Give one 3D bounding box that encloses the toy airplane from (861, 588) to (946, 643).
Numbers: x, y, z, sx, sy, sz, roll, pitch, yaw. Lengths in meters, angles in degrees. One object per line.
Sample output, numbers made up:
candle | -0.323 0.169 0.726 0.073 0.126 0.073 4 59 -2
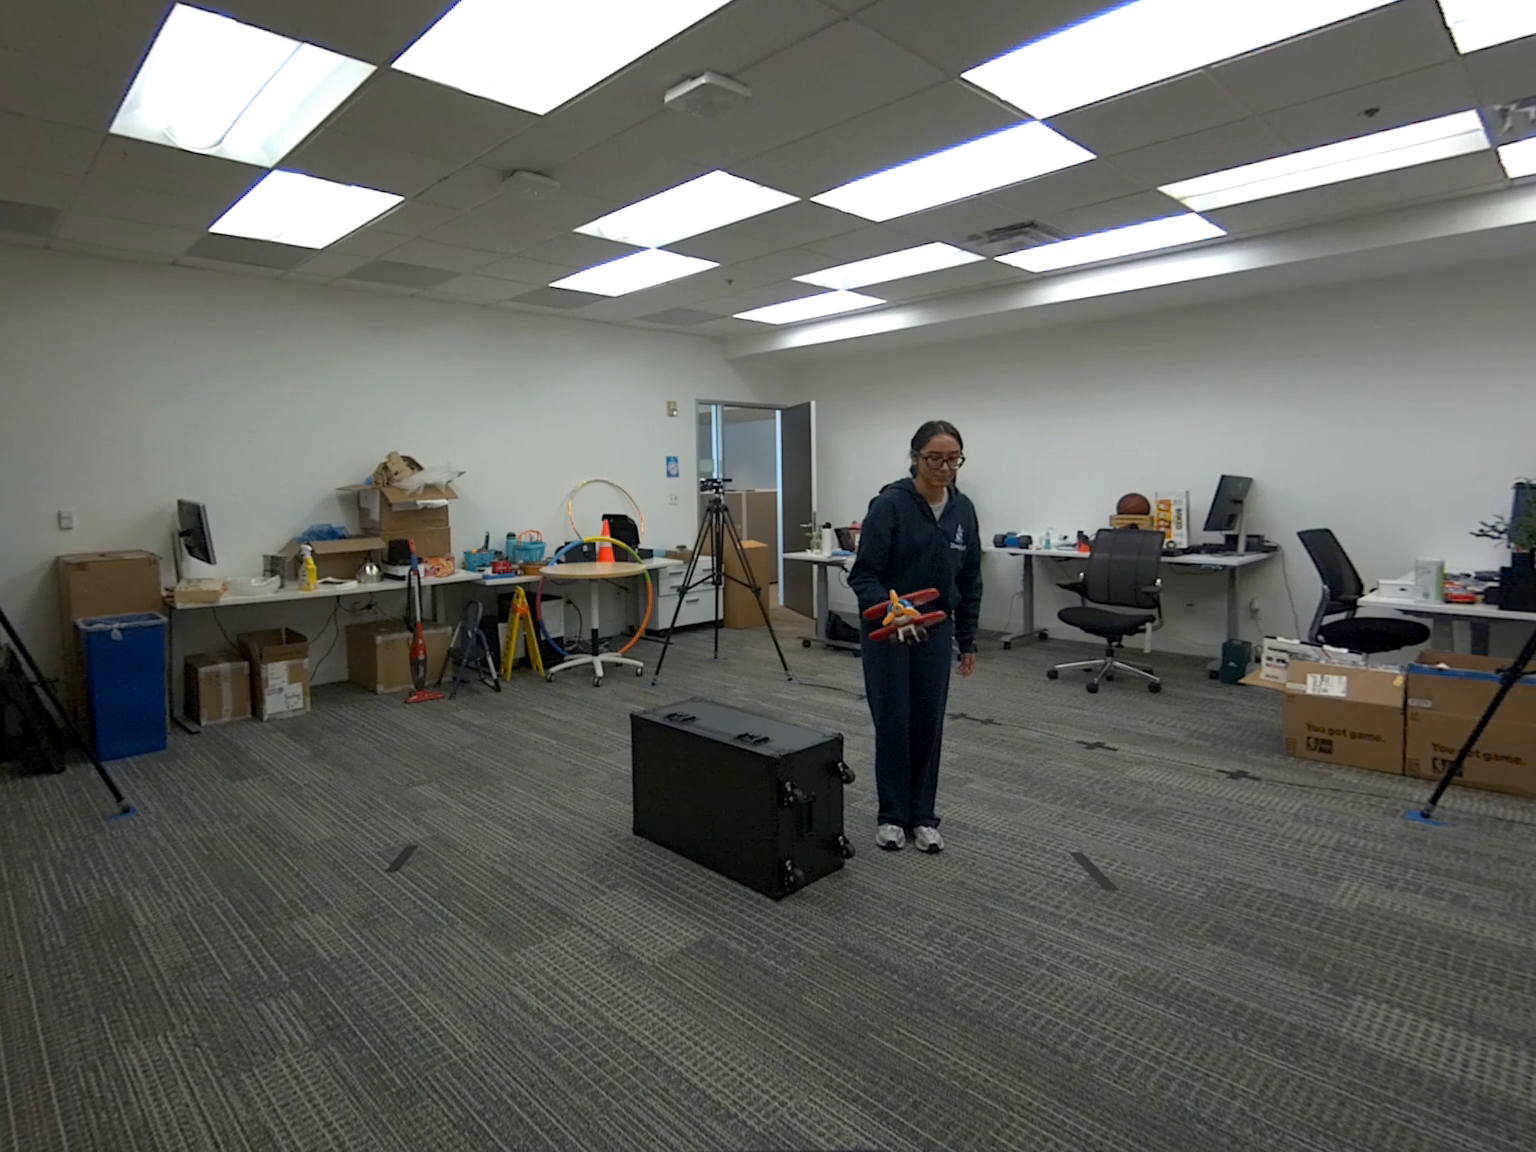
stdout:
toy airplane | 0.451 0.166 2.824 0.249 0.158 0.258 -16 -8 -10
